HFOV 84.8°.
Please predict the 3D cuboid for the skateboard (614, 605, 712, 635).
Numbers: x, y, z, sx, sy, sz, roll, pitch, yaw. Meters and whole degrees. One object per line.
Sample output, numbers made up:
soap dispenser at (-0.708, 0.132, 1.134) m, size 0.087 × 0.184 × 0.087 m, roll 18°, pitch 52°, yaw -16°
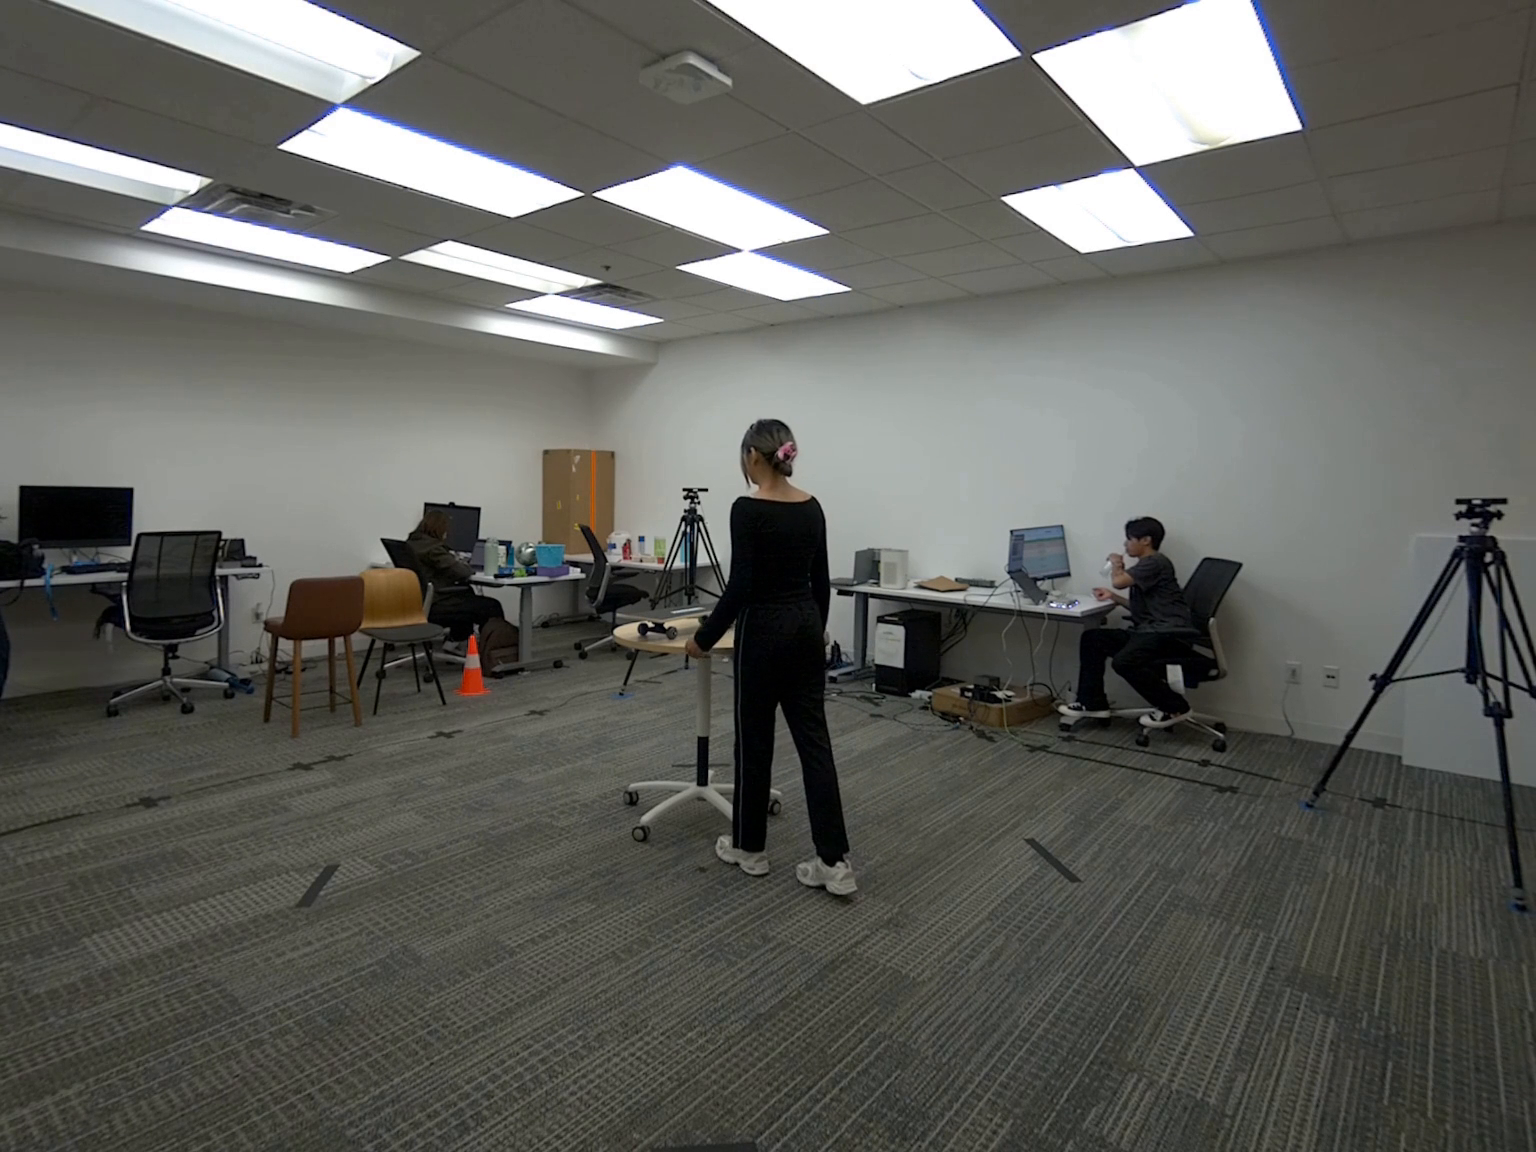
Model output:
skateboard at (-0.341, 0.180, 3.571) m, size 0.199 × 0.110 × 0.764 m, roll 3°, pitch 6°, yaw 33°
